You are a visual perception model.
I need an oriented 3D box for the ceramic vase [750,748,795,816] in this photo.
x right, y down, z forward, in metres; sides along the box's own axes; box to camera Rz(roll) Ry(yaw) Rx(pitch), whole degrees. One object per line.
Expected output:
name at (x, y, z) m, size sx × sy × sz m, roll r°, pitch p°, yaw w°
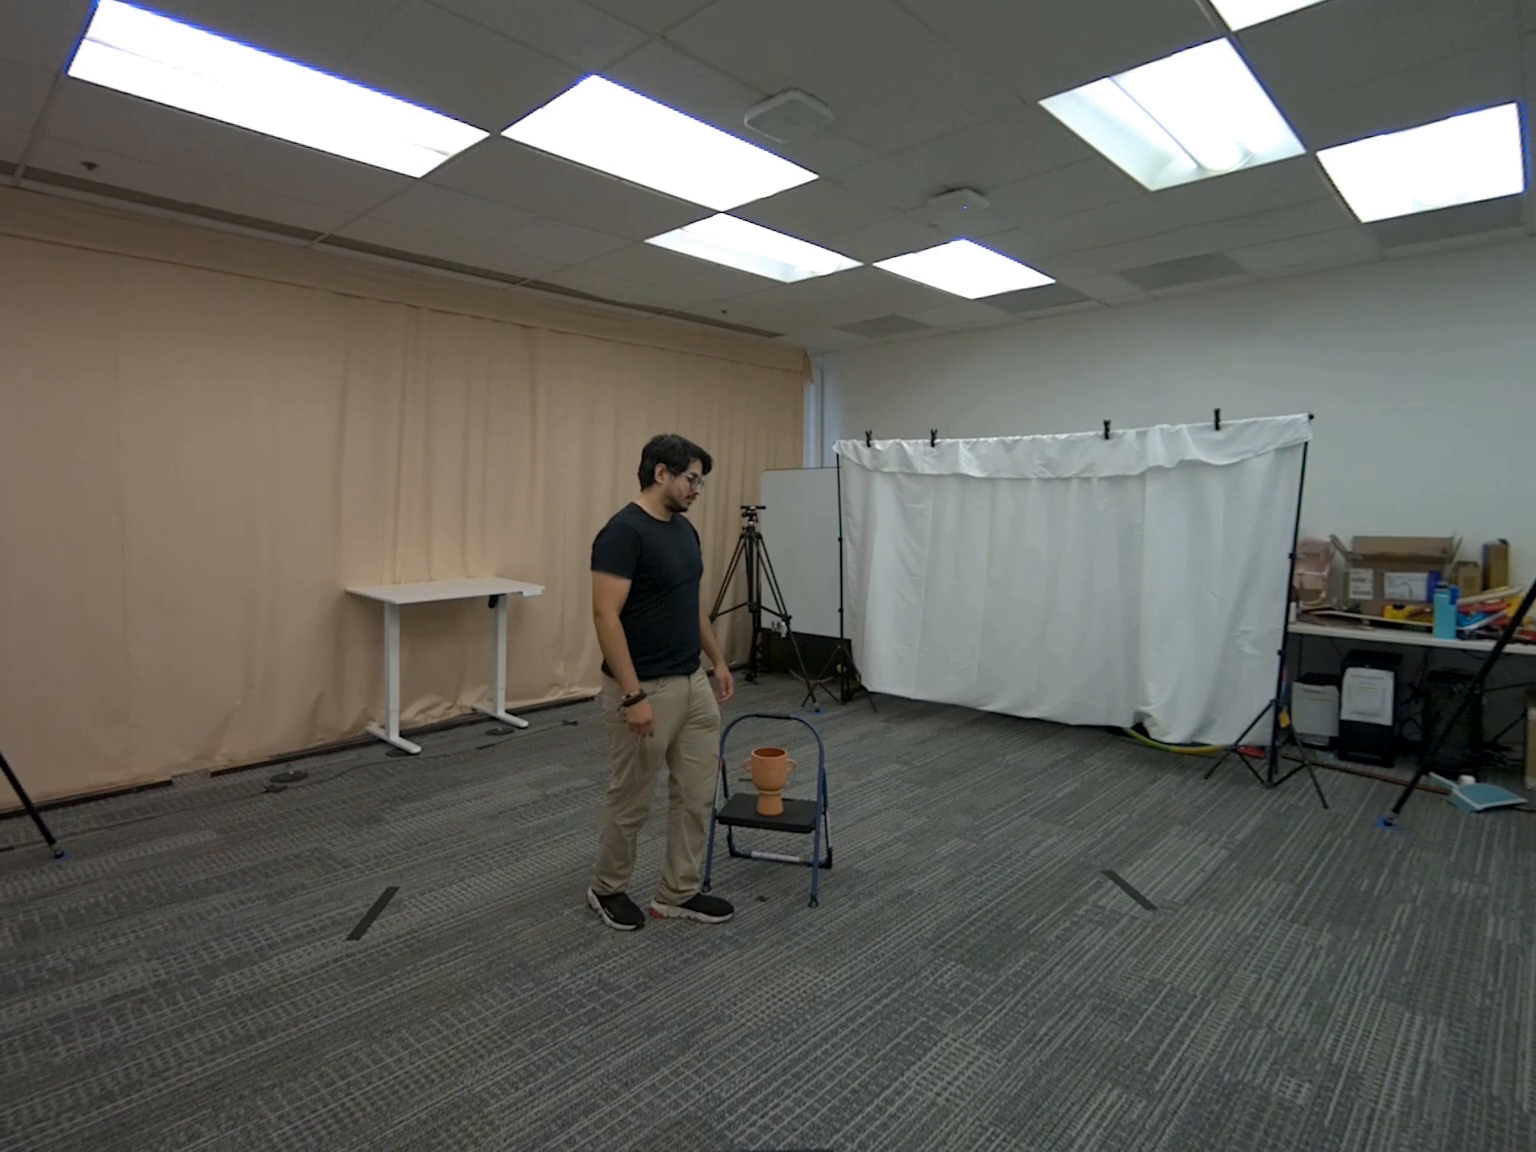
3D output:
ceramic vase at (0.007, 0.762, 3.110) m, size 0.164 × 0.219 × 0.130 m, roll 4°, pitch 6°, yaw 41°
